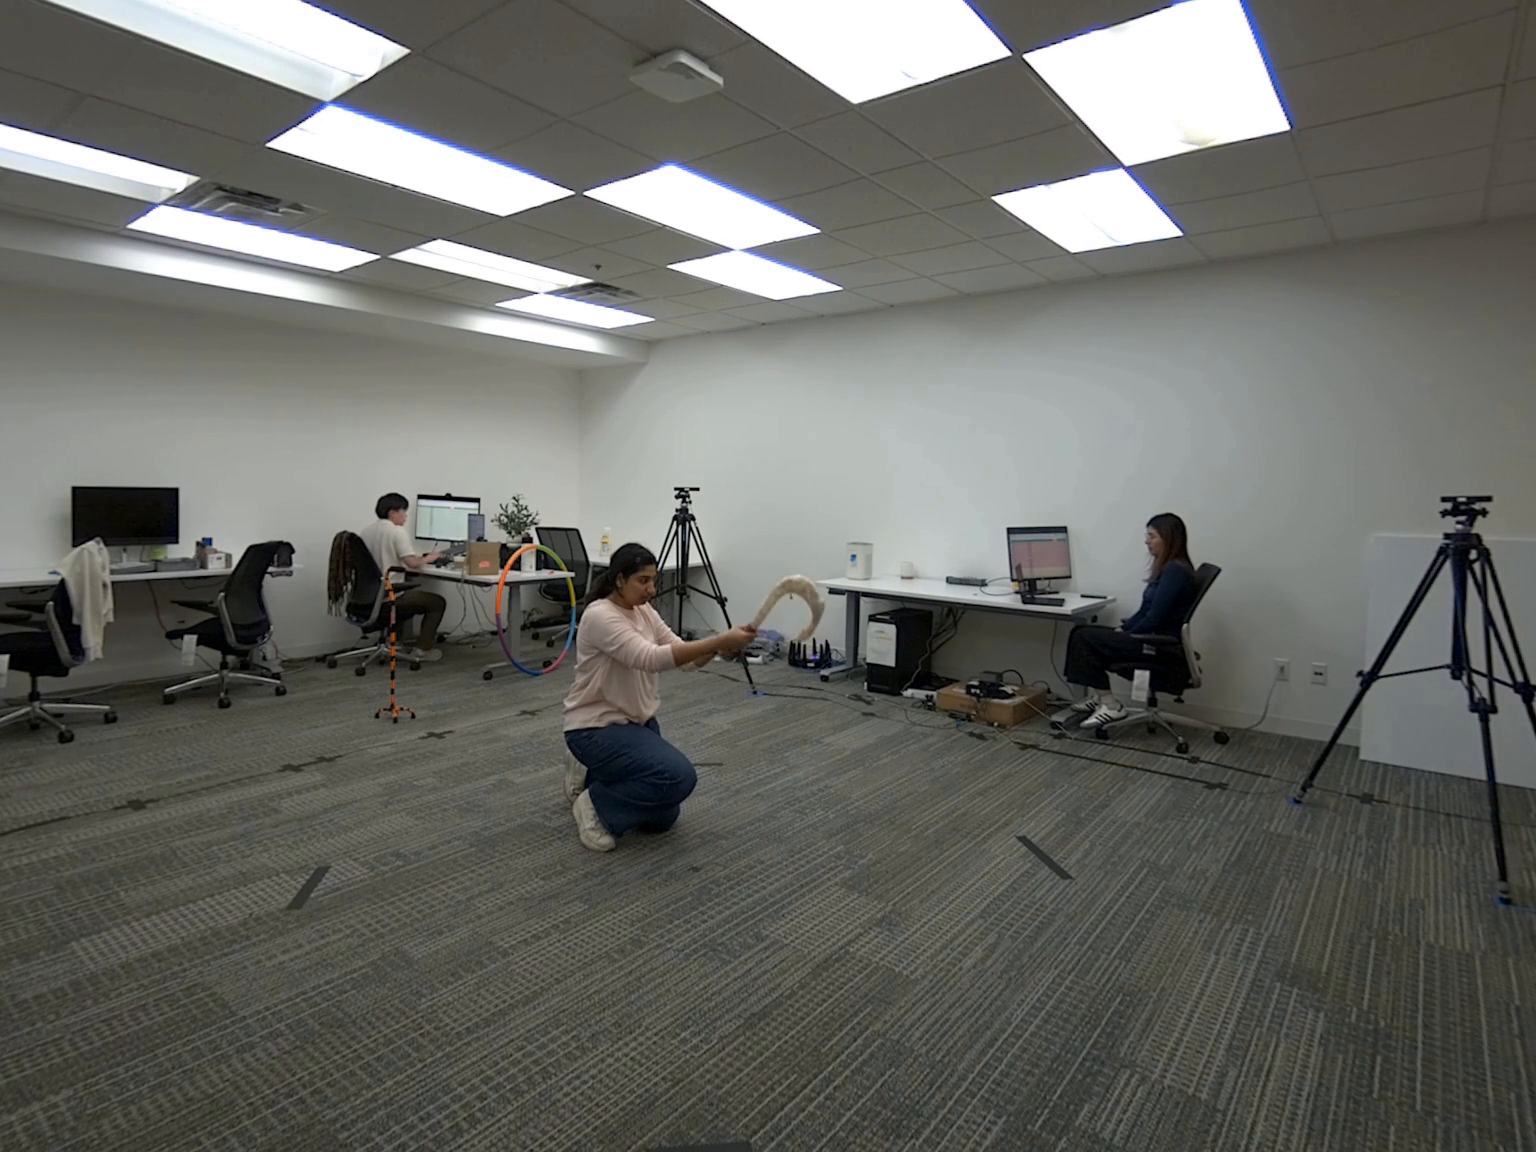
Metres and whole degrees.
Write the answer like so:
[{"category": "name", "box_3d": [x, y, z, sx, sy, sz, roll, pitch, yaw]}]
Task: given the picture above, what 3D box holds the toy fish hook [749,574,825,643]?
[{"category": "toy fish hook", "box_3d": [-0.024, 0.188, 3.127, 0.508, 0.231, 0.047, -41, -24, 31]}]
